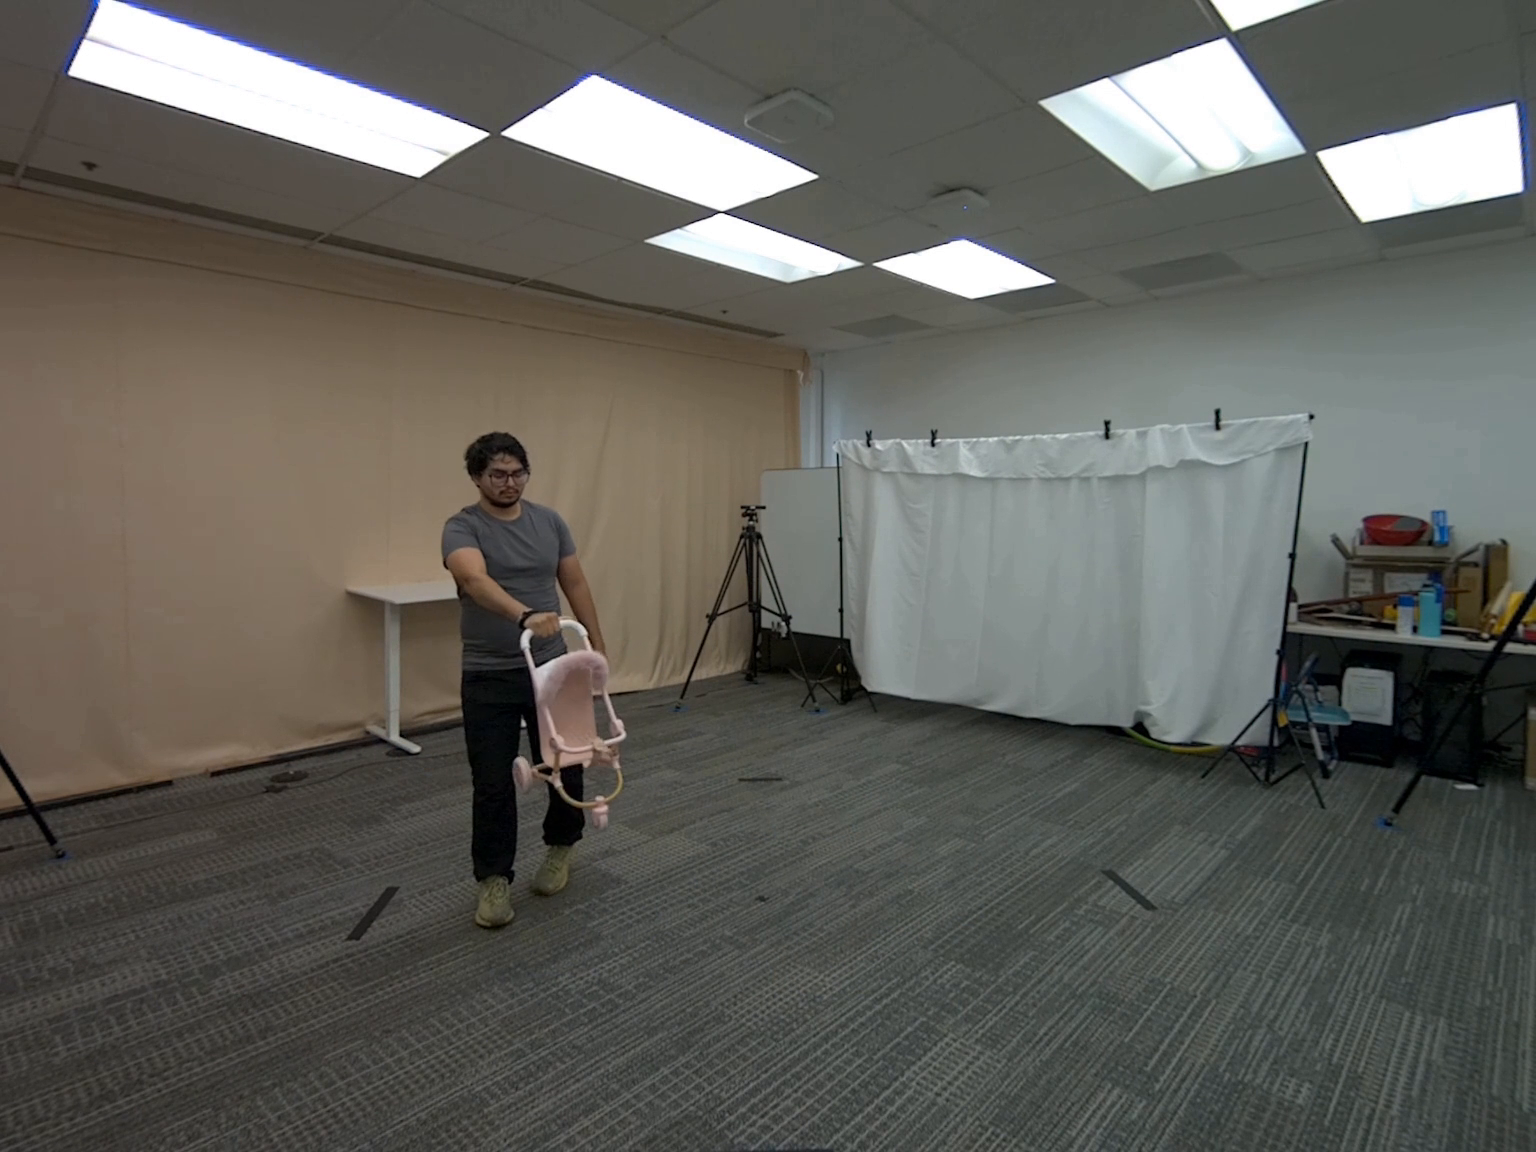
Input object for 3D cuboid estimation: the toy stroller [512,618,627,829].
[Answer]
[{"bbox_3d":[-0.560,0.437,2.419,0.274,0.532,0.353,-6,12,-34],"label":"toy stroller"}]
